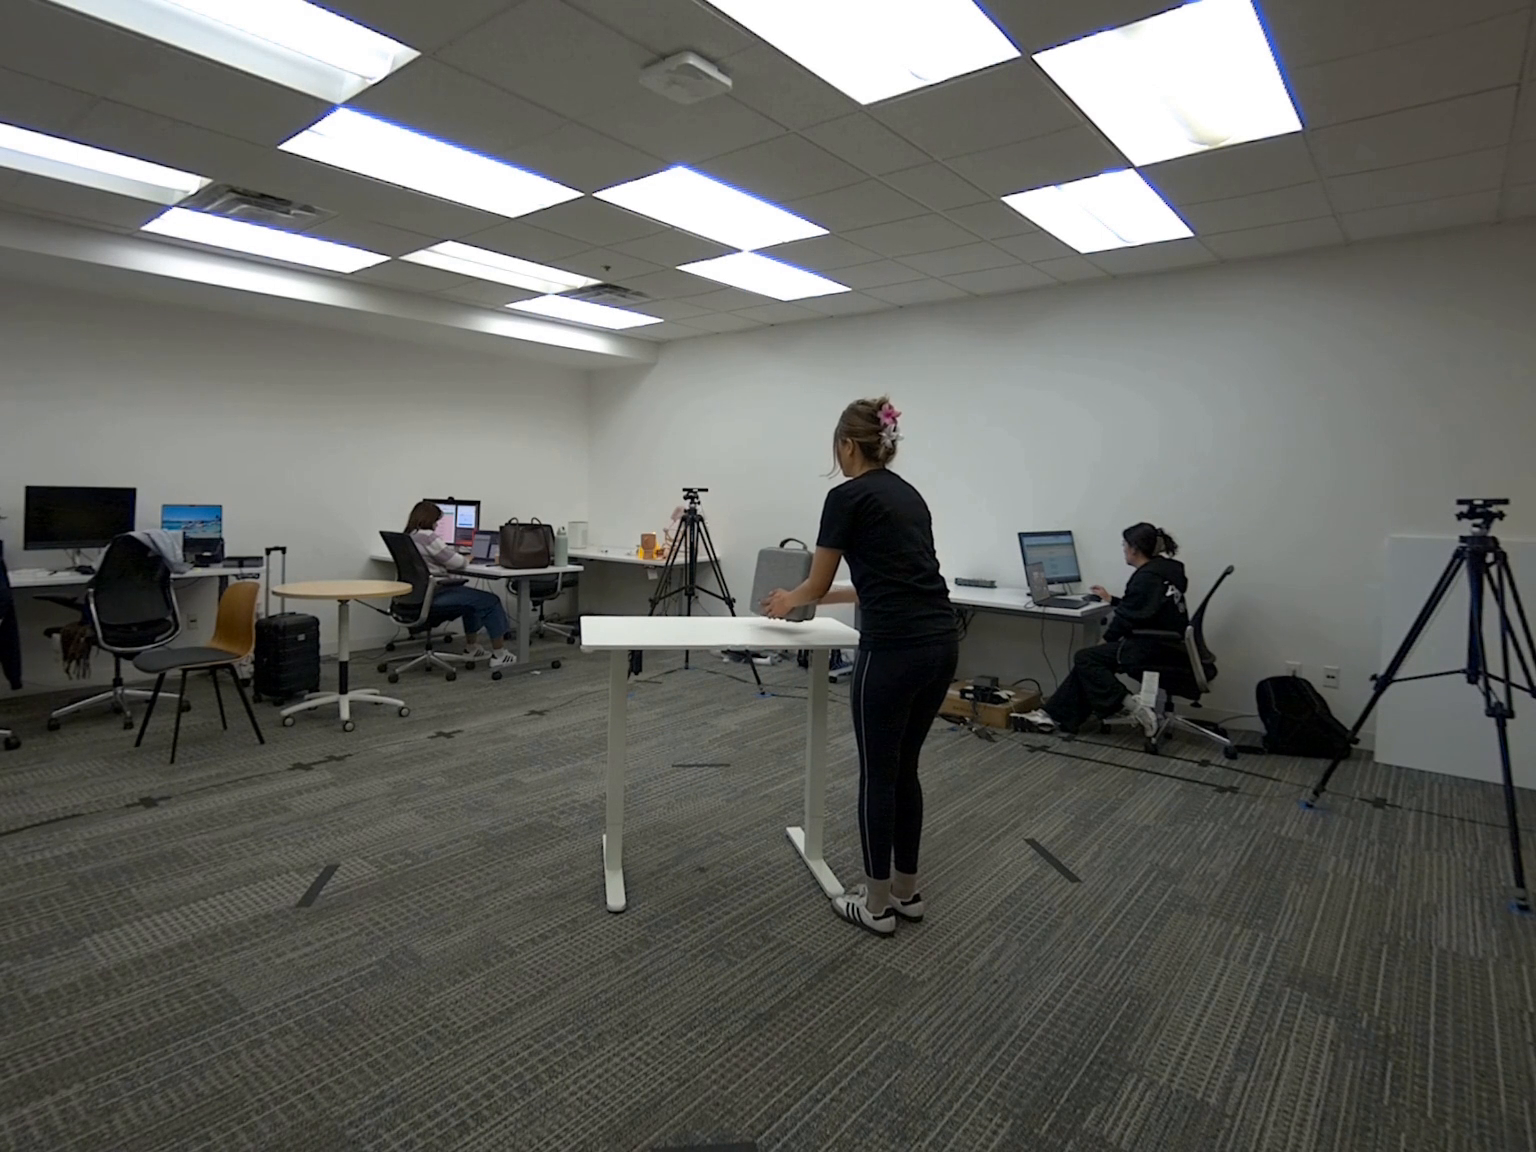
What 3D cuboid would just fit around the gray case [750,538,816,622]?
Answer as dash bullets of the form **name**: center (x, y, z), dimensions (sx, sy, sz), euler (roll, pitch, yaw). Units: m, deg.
- **gray case**: center (0.057, 0.018, 3.125), dimensions (0.266, 0.261, 0.101), euler (7, 0, 43)
